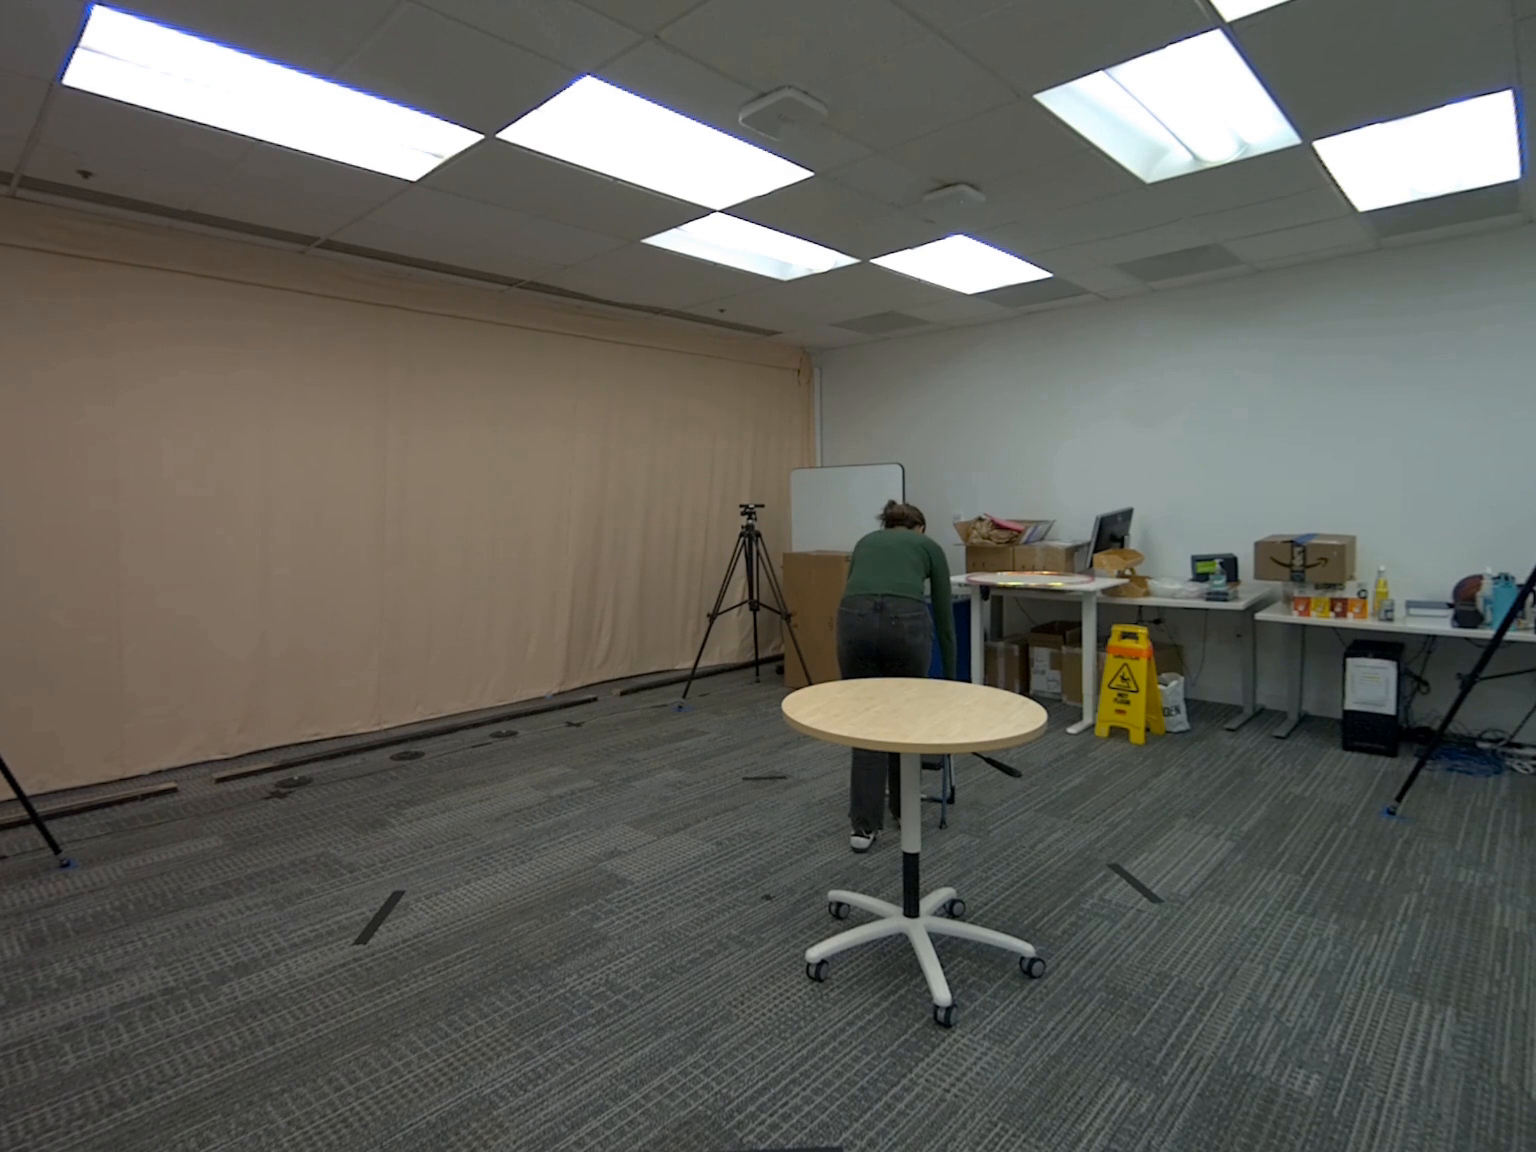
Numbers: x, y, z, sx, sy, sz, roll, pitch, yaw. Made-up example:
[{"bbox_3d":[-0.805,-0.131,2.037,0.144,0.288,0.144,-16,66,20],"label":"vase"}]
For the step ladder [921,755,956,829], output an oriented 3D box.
[{"bbox_3d":[0.615,0.755,3.805,0.440,0.605,0.342,1,3,21],"label":"step ladder"}]
